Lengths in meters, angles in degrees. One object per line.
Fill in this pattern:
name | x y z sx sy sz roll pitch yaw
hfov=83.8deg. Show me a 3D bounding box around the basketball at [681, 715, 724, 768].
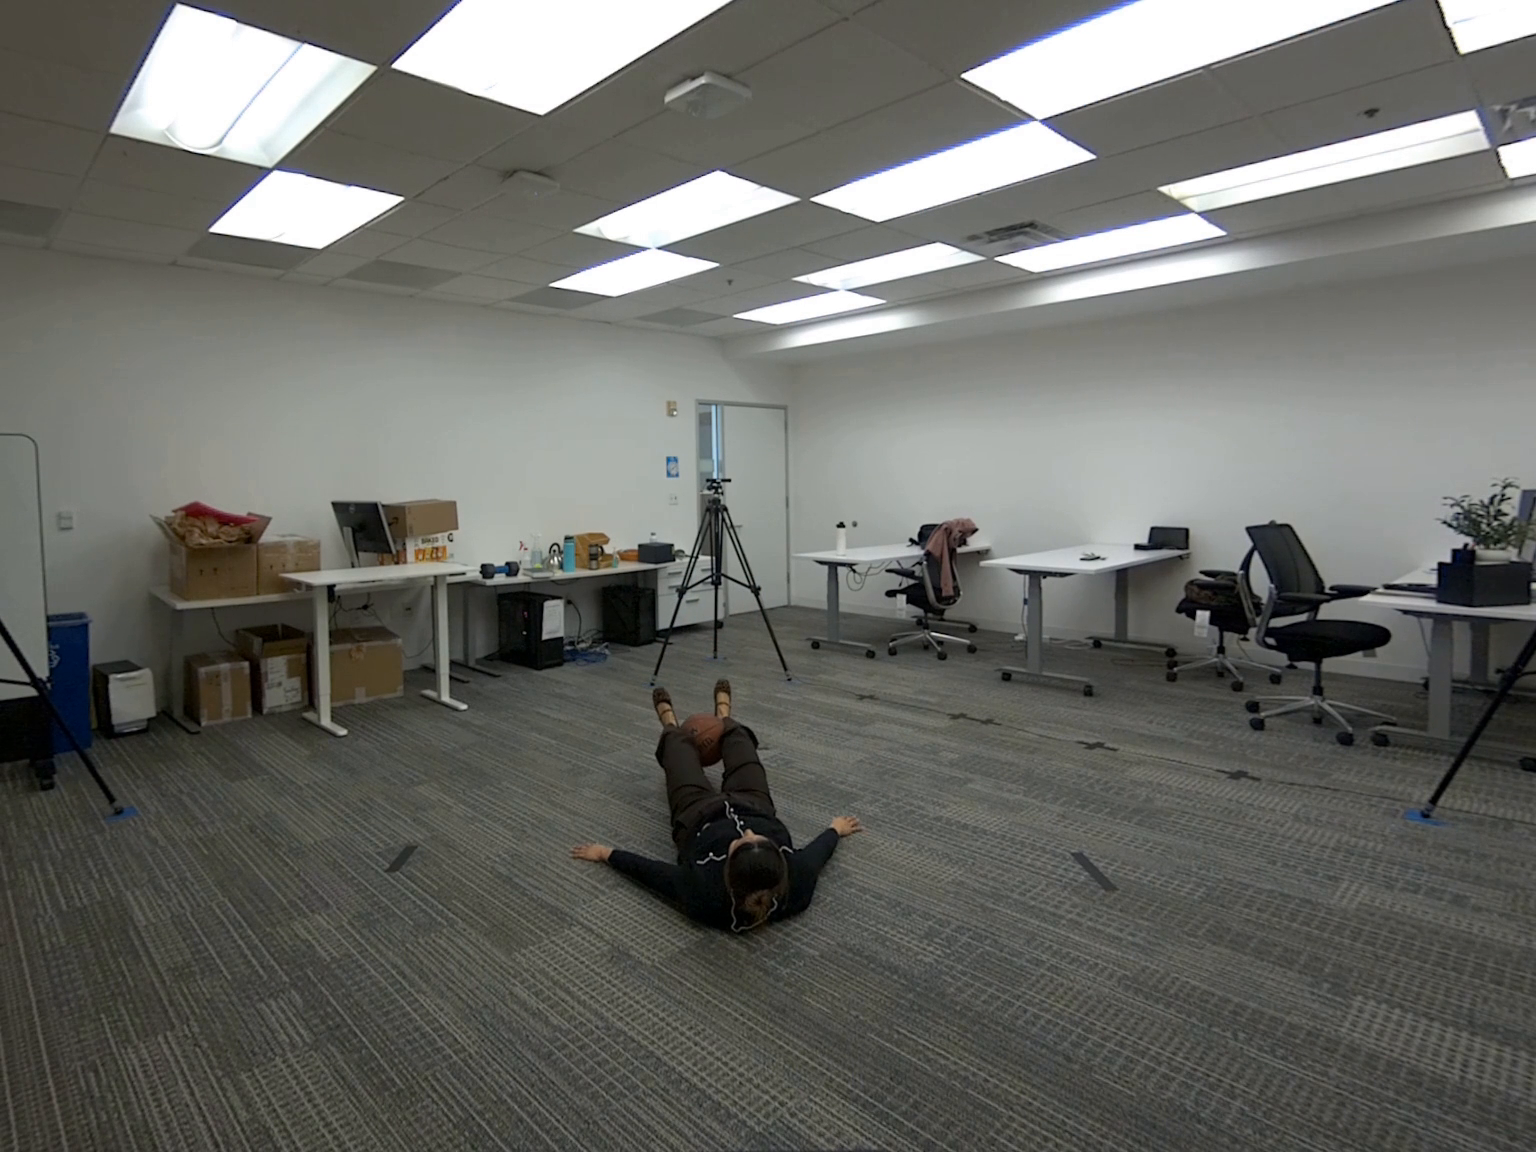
basketball | -0.285 0.730 3.811 0.236 0.235 0.237 -1 5 -2
